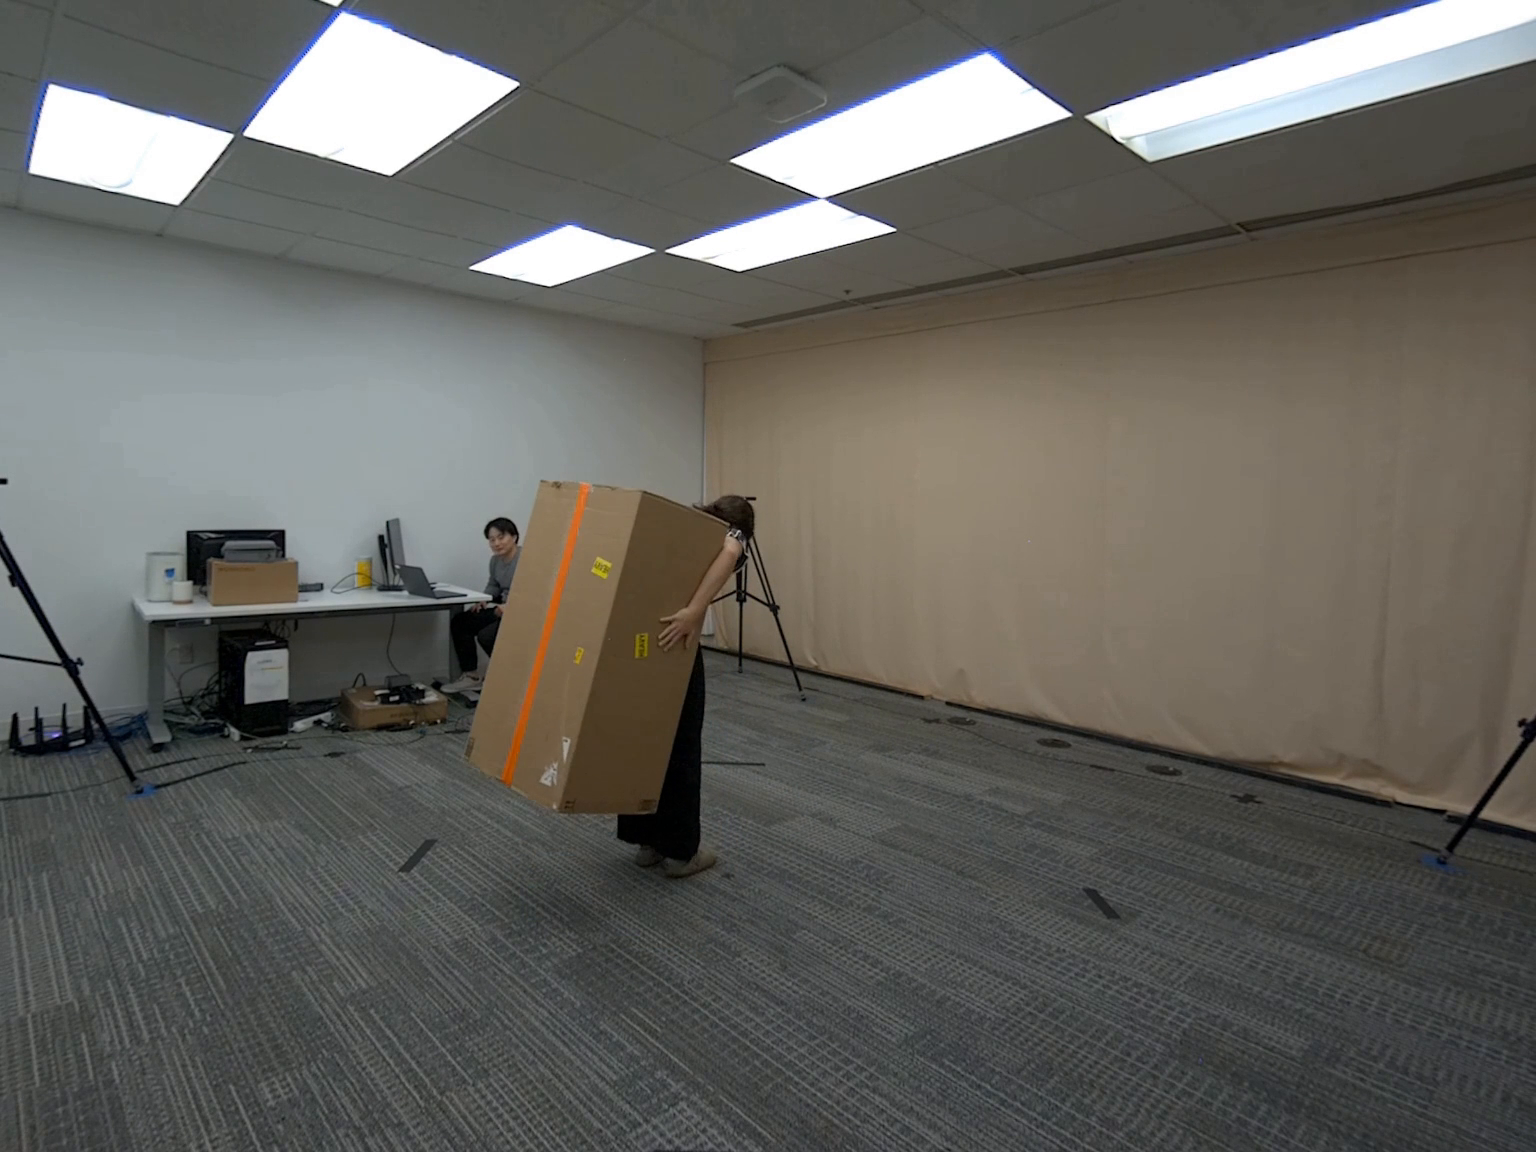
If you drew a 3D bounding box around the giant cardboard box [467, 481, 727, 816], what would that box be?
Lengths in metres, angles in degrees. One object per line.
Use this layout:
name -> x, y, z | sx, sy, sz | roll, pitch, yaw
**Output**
giant cardboard box -> -0.605, 0.231, 2.923 | 0.593, 1.029, 0.413 | 9, -7, 41
